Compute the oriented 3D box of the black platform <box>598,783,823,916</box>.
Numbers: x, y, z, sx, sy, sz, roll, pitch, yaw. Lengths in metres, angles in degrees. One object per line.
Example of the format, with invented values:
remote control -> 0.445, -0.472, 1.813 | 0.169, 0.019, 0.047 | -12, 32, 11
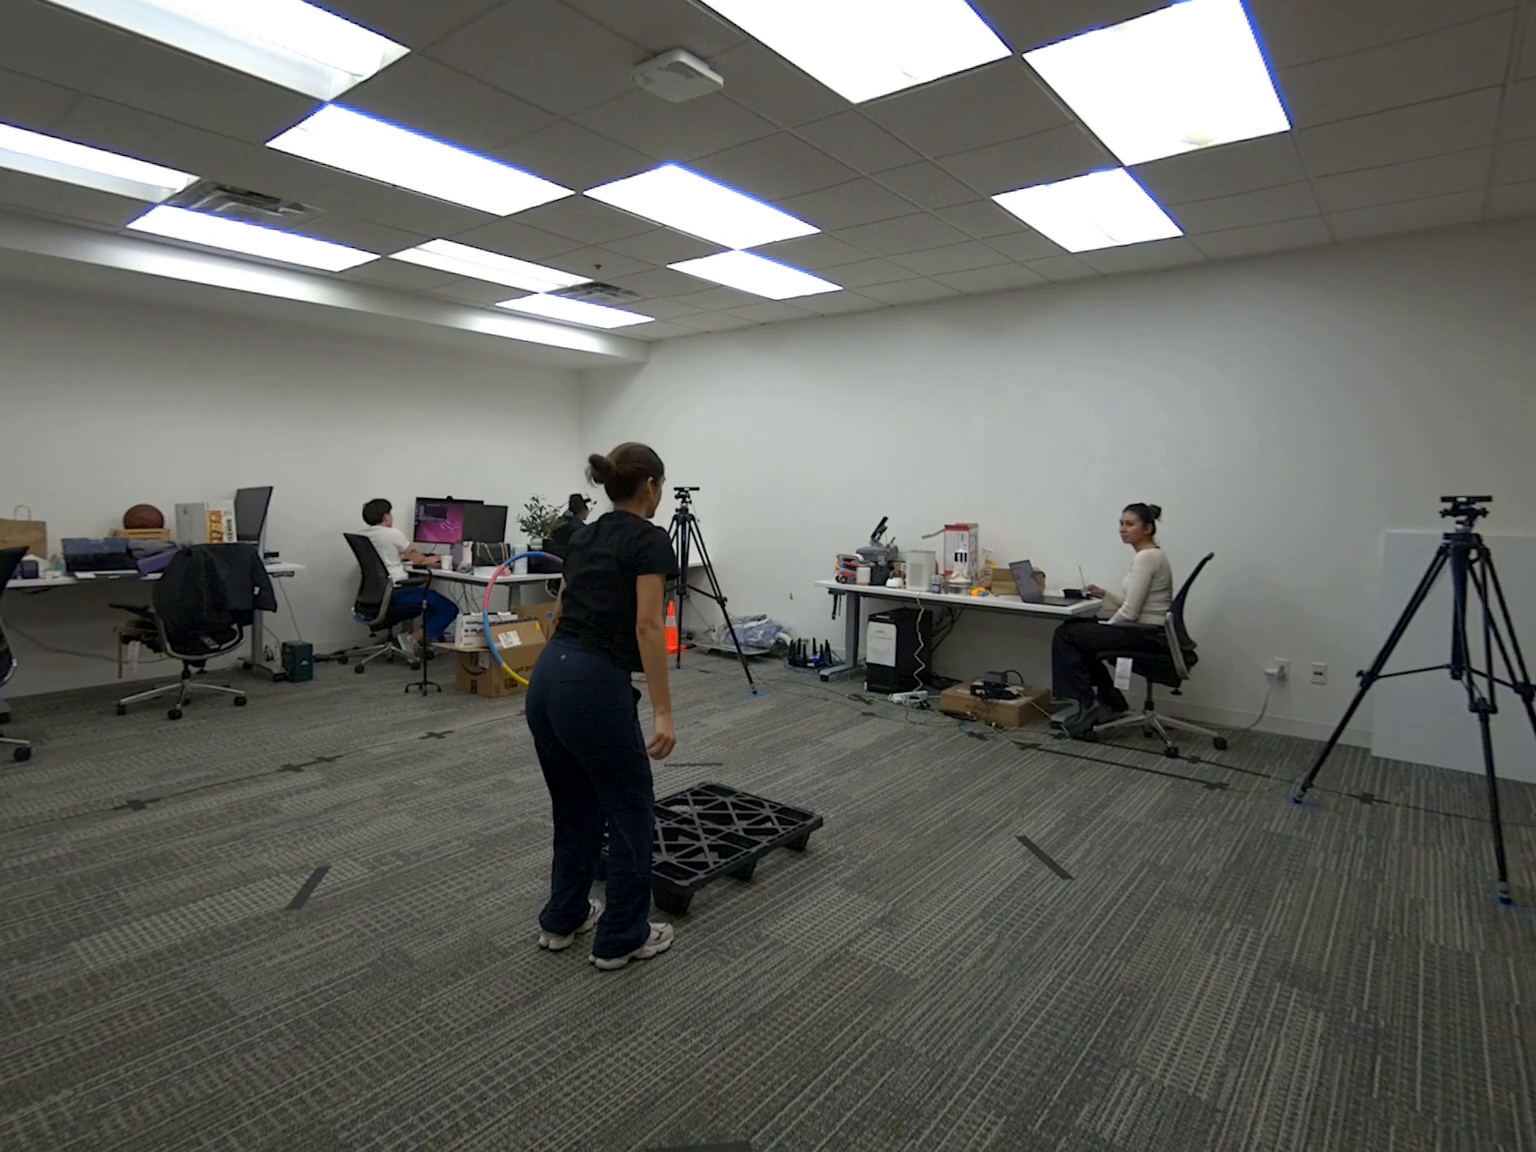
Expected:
black platform -> -0.235, 0.995, 3.189 | 0.626, 0.143, 0.782 | 6, 8, 39
